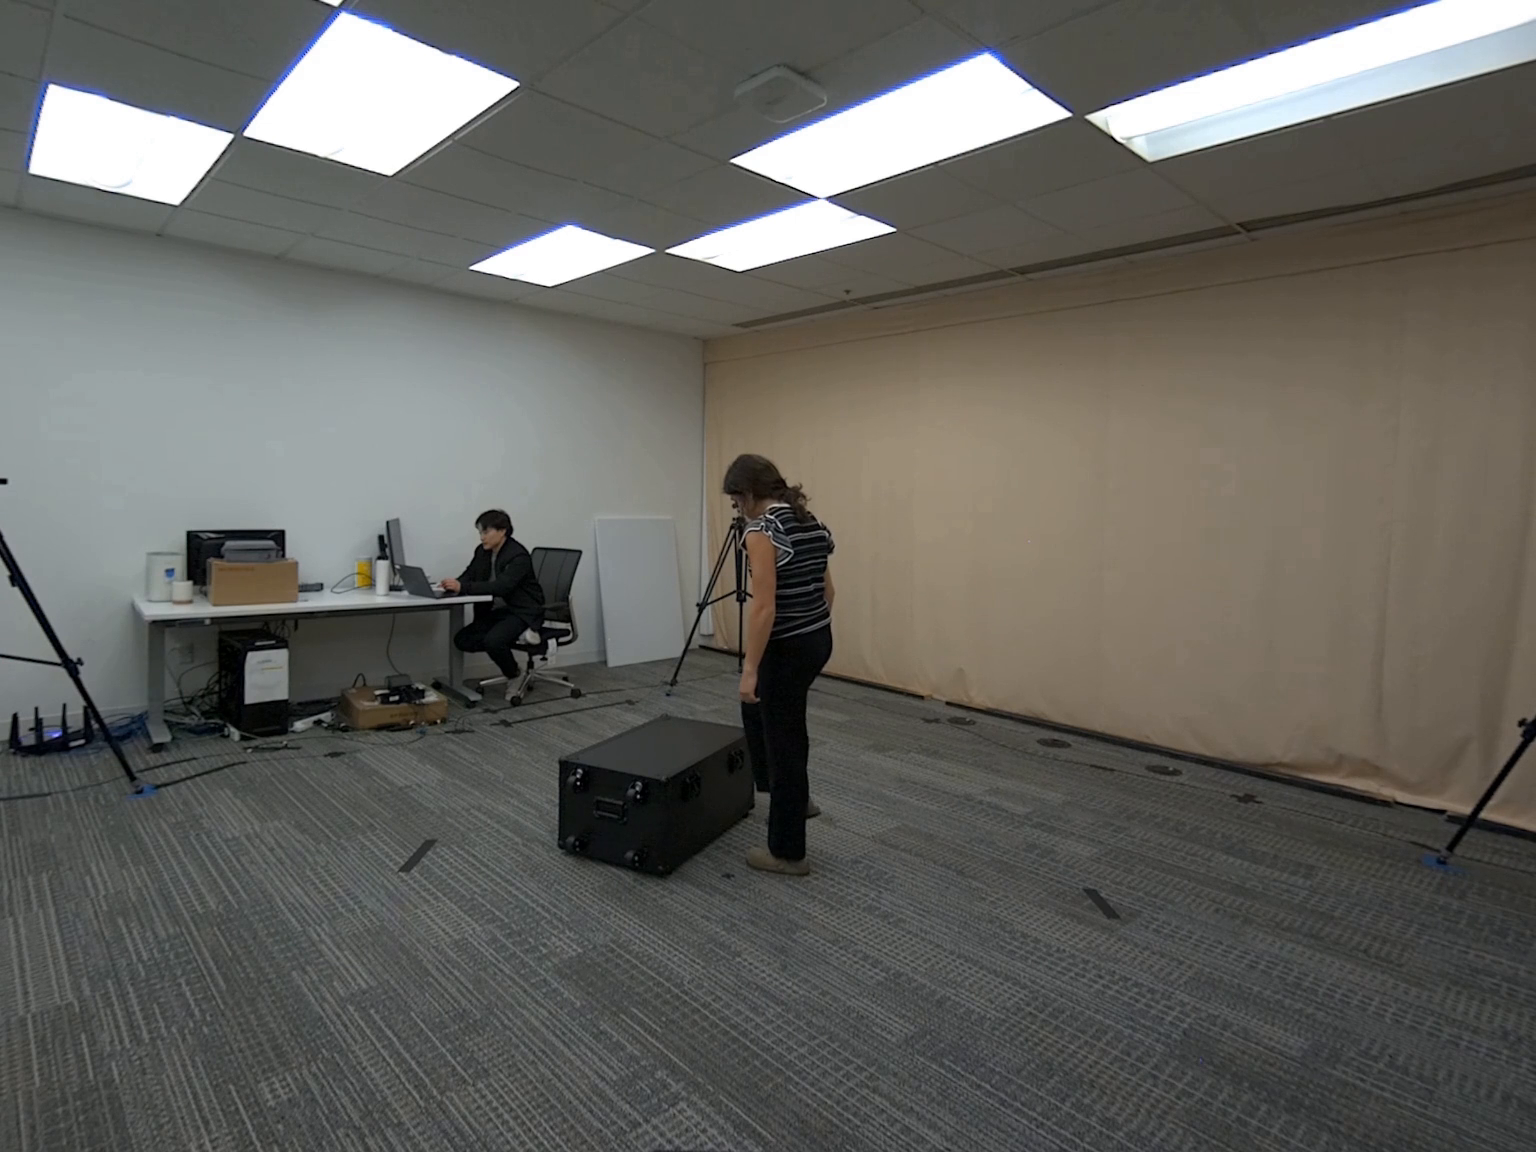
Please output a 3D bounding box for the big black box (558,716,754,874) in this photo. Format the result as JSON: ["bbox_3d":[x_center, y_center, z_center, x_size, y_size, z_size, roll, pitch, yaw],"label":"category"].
[{"bbox_3d":[-0.451,0.875,3.455,0.531,0.395,0.847,4,5,24],"label":"big black box"}]
